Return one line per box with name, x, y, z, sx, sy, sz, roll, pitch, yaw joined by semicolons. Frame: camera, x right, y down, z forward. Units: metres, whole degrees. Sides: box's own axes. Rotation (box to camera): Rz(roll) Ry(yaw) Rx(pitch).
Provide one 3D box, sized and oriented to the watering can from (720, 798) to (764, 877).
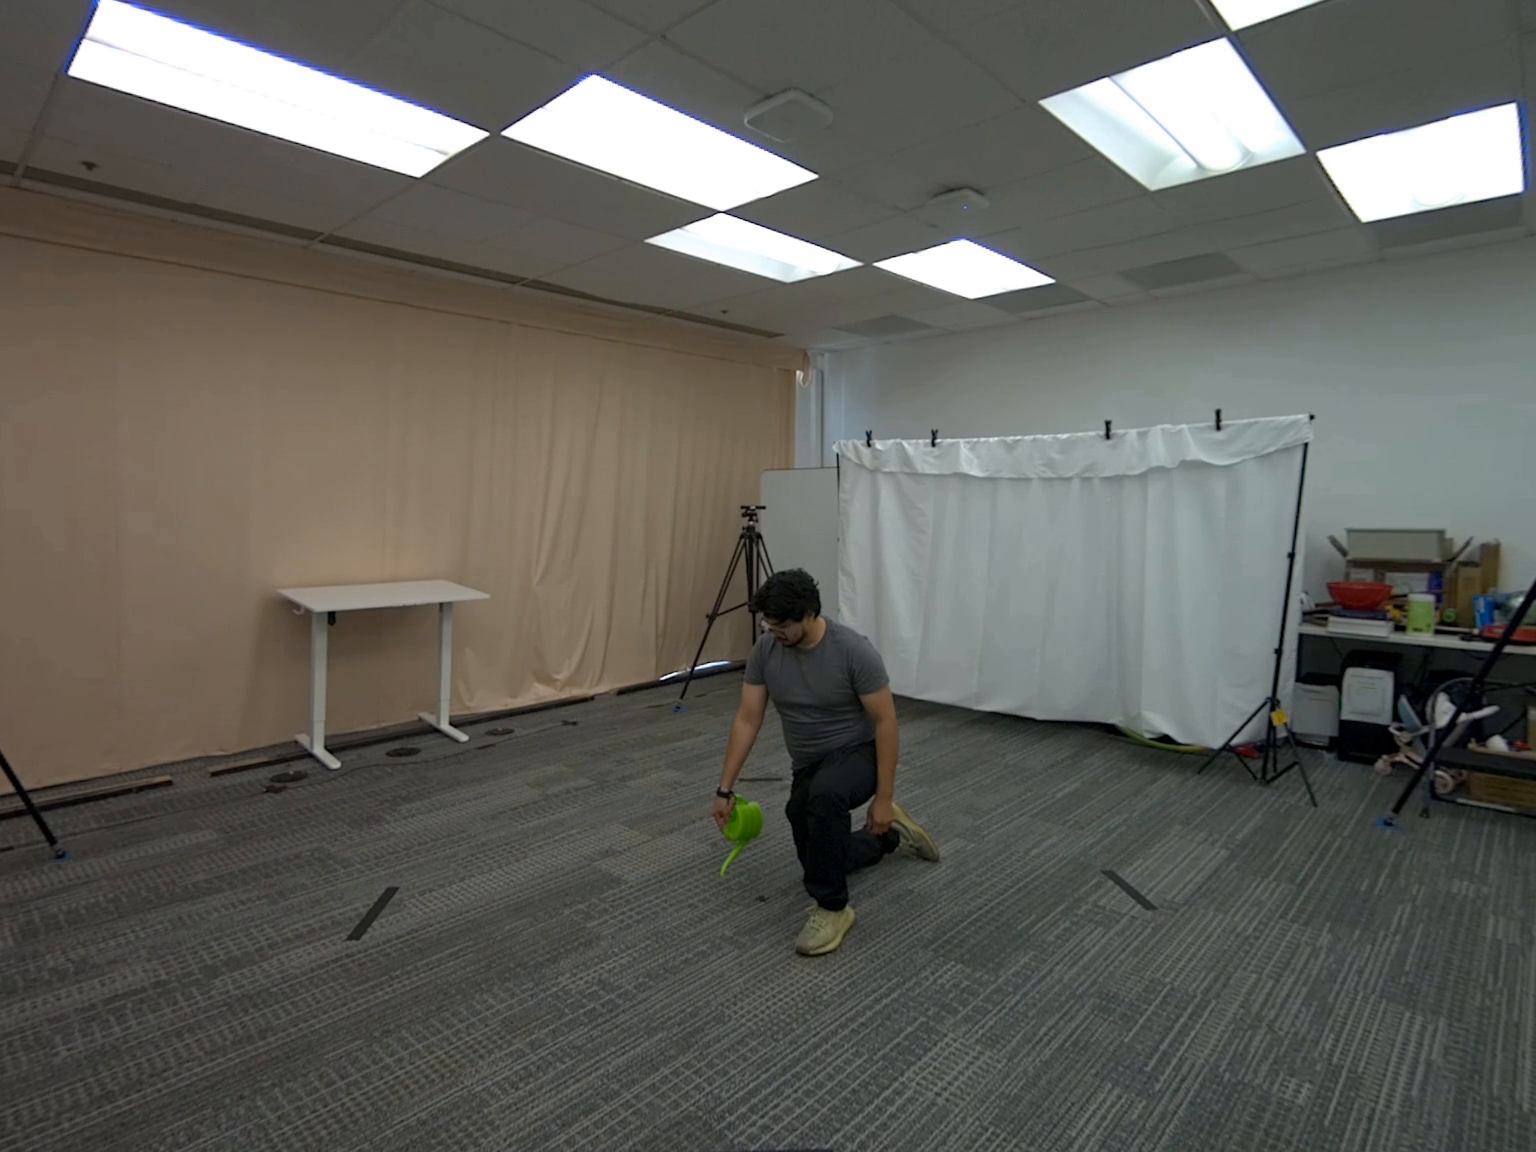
watering can;-0.109;0.949;3.082;0.101;0.278;0.170;12;-3;40
